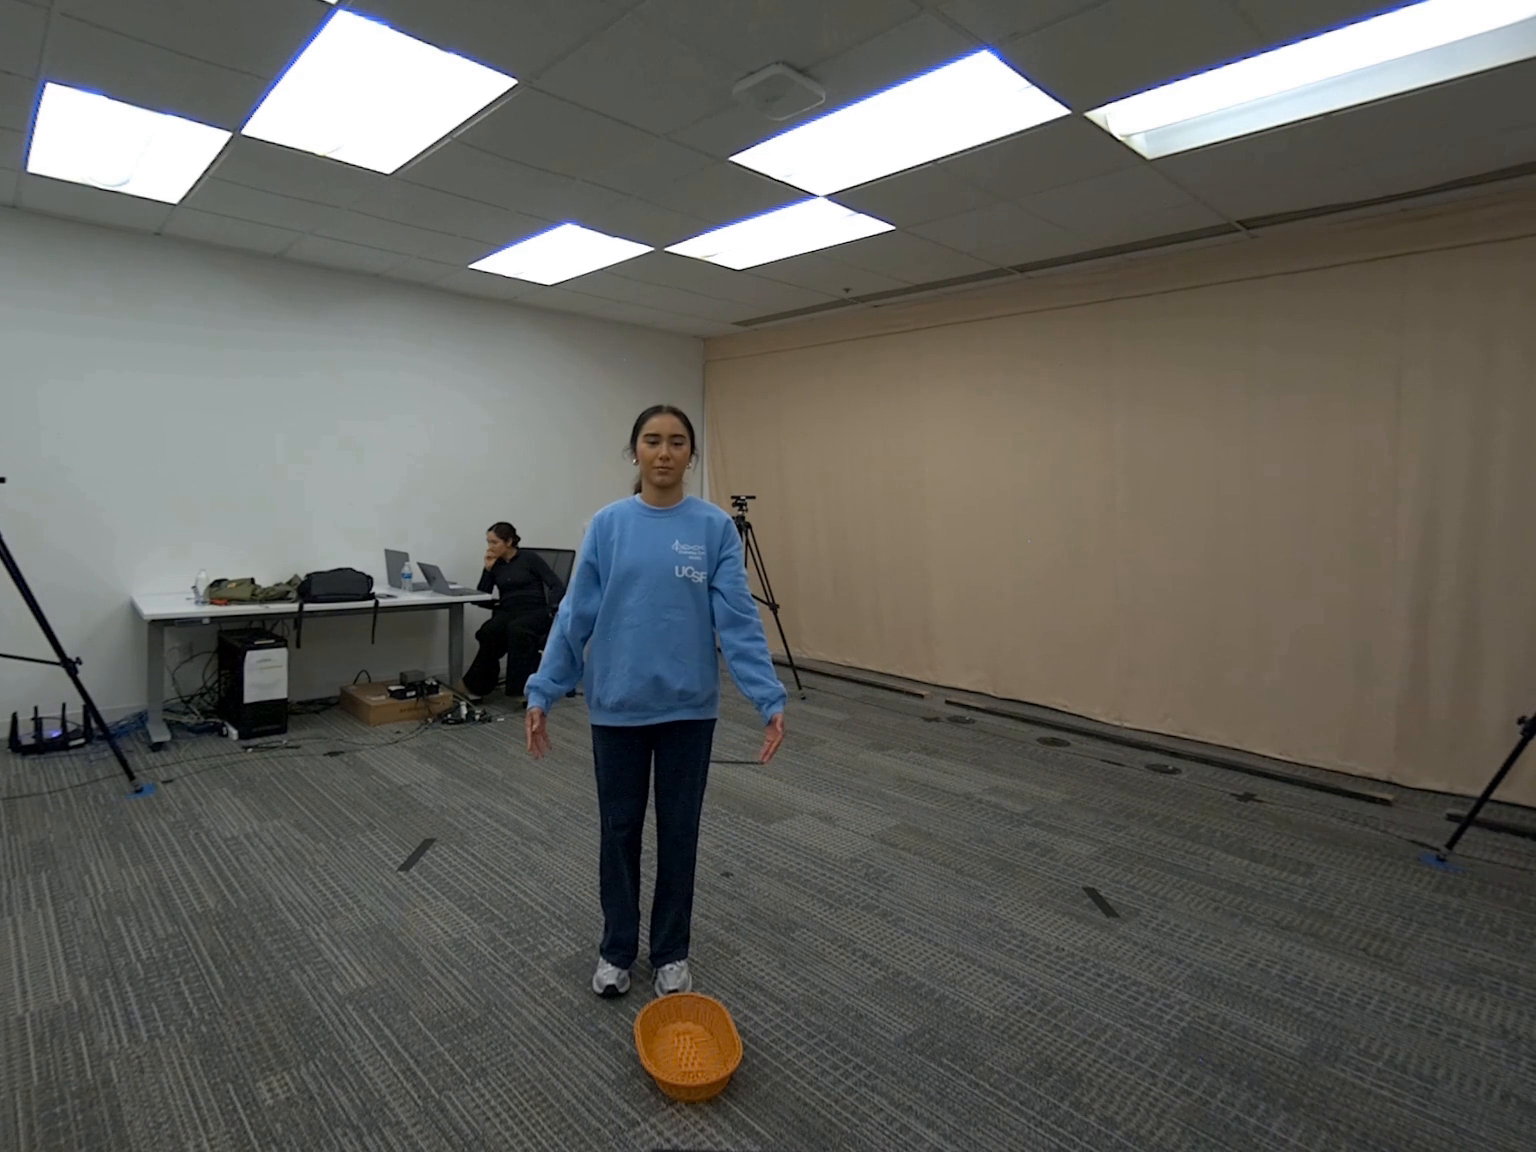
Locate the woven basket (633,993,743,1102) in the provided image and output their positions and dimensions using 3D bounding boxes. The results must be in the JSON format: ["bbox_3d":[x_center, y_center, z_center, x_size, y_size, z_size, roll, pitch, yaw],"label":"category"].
[{"bbox_3d":[-0.212,1.166,2.065,0.250,0.073,0.355,-1,6,-13],"label":"woven basket"}]
